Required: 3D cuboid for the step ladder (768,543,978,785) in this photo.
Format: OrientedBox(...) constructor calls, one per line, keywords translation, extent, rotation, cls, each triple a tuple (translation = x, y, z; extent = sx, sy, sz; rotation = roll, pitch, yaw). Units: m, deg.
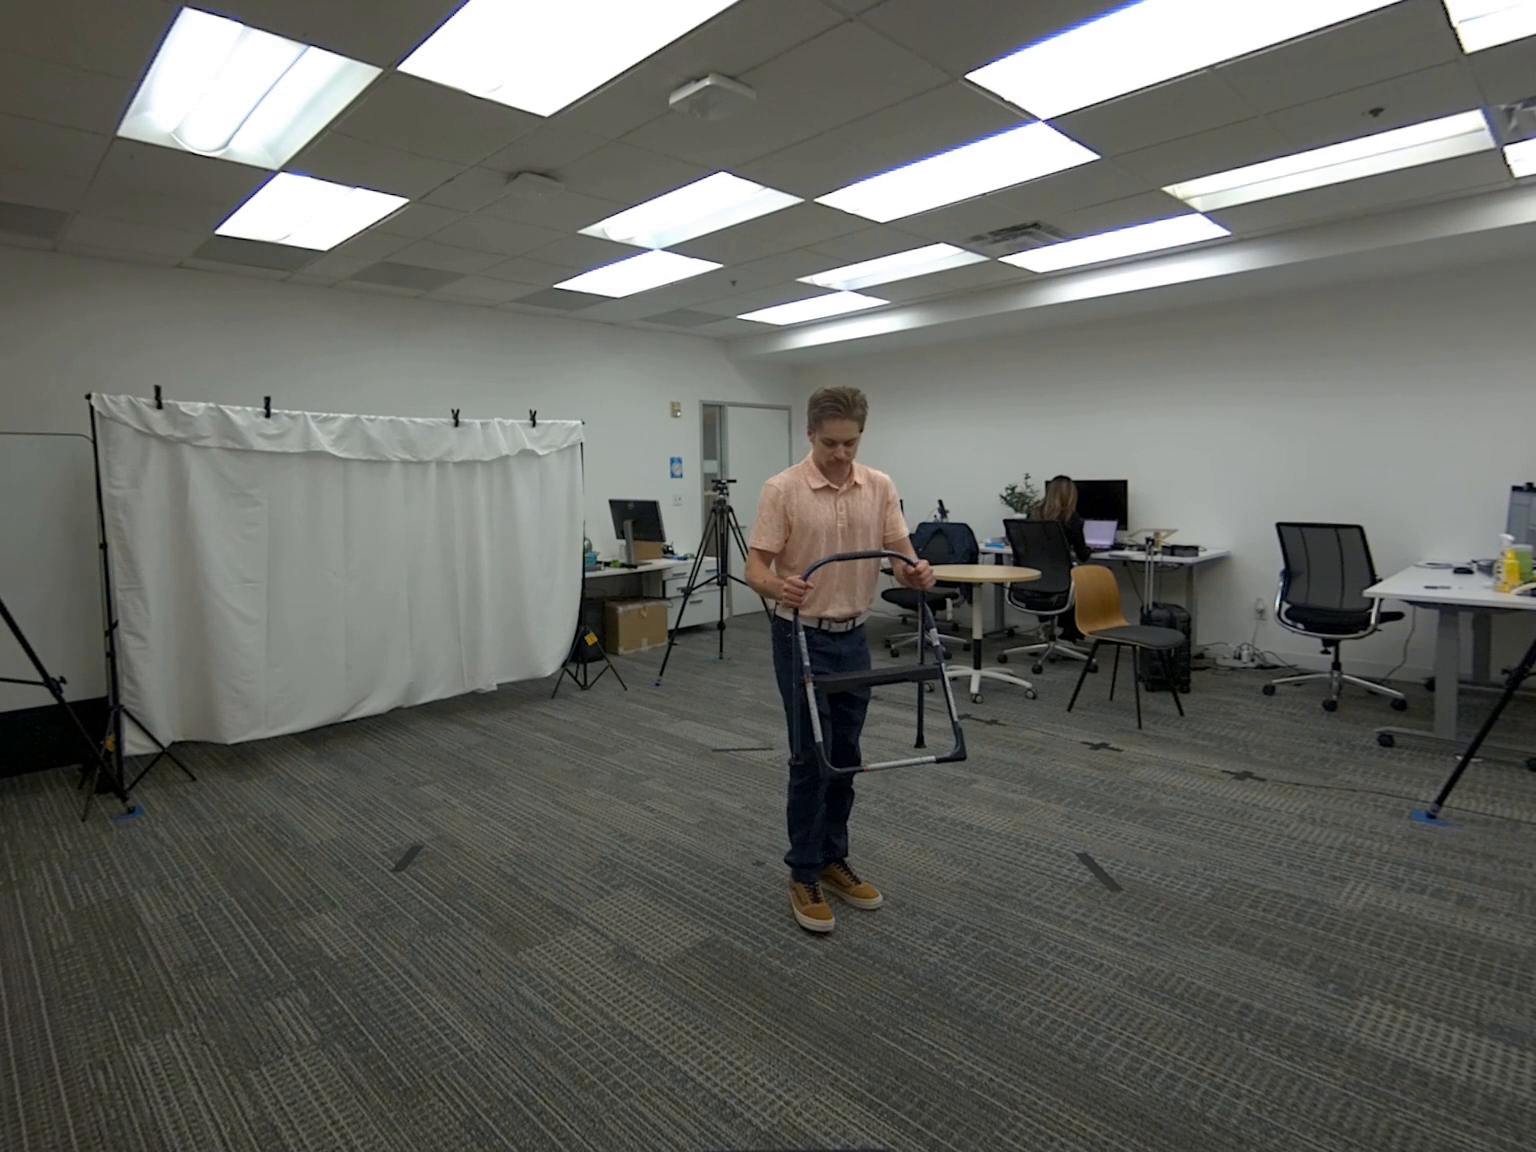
OrientedBox(translation=(0.280, 0.247, 2.501), extent=(0.426, 0.609, 0.351), rotation=(-7, -5, -12), cls="step ladder")
